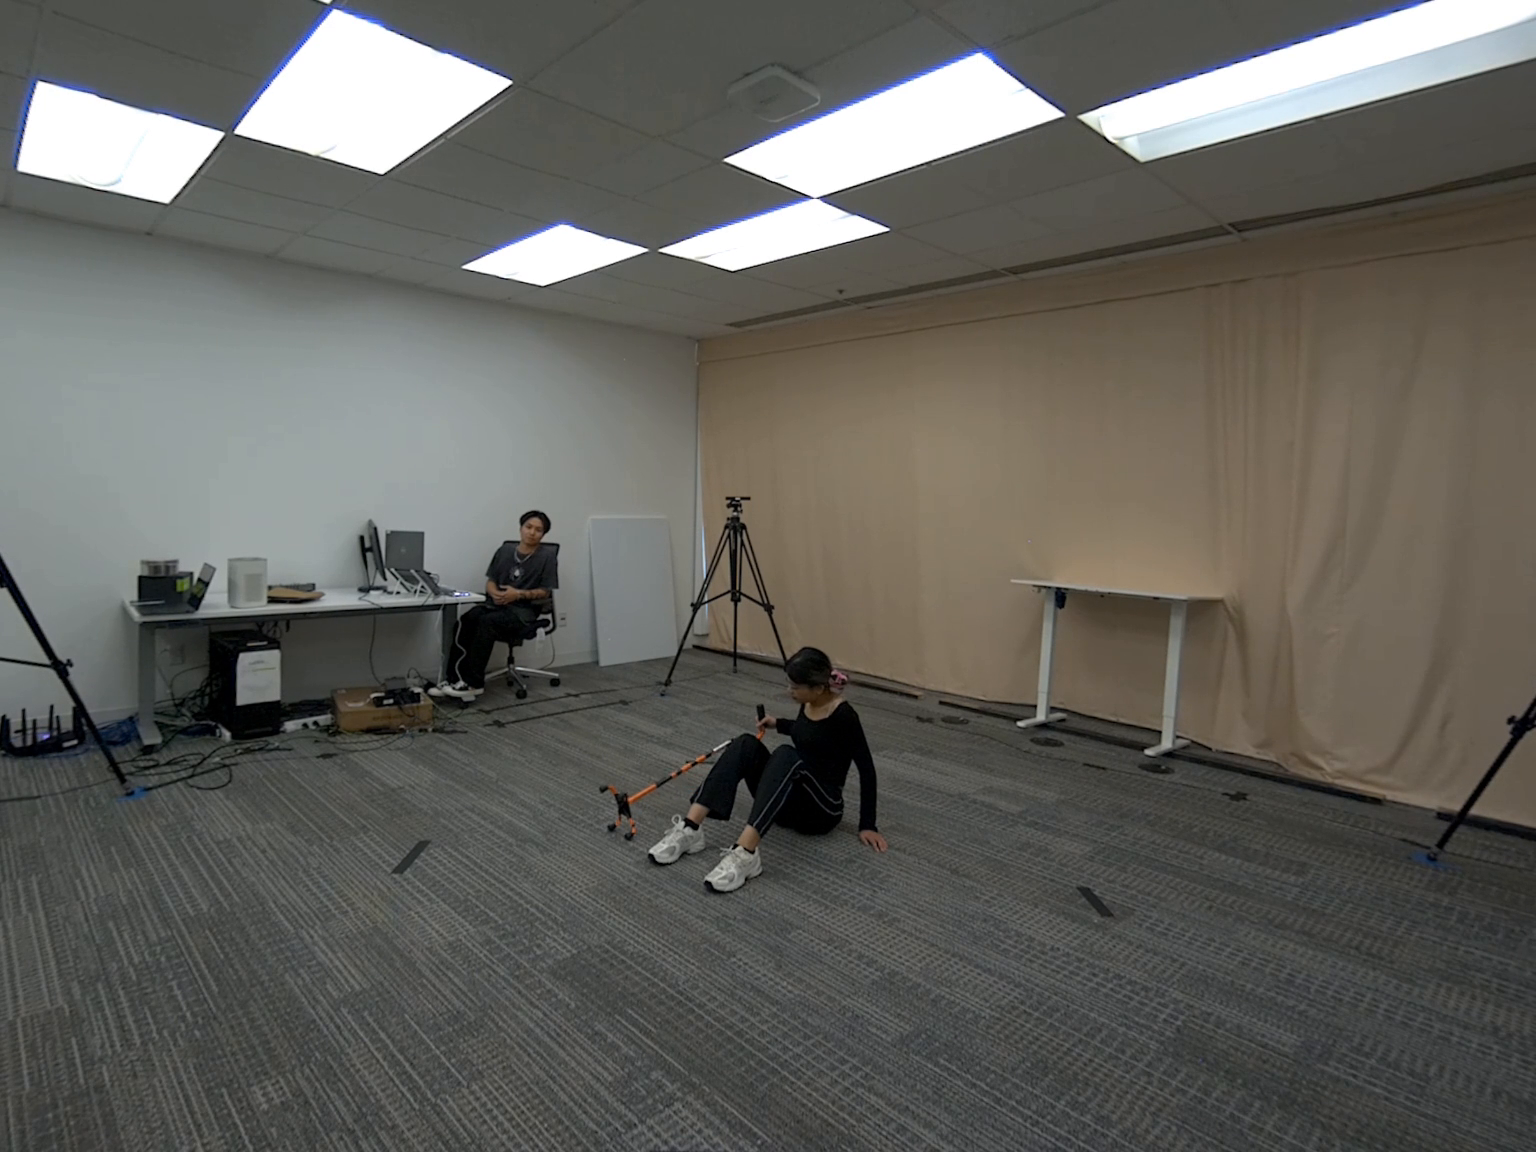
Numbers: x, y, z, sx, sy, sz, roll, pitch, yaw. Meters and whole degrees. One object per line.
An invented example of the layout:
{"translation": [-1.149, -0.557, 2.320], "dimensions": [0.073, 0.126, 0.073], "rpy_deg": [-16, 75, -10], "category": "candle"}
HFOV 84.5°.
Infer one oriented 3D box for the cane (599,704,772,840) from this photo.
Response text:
{"translation": [-0.321, 0.825, 3.721], "dimensions": [0.895, 0.204, 0.155], "rpy_deg": [-23, 18, -40], "category": "cane"}
